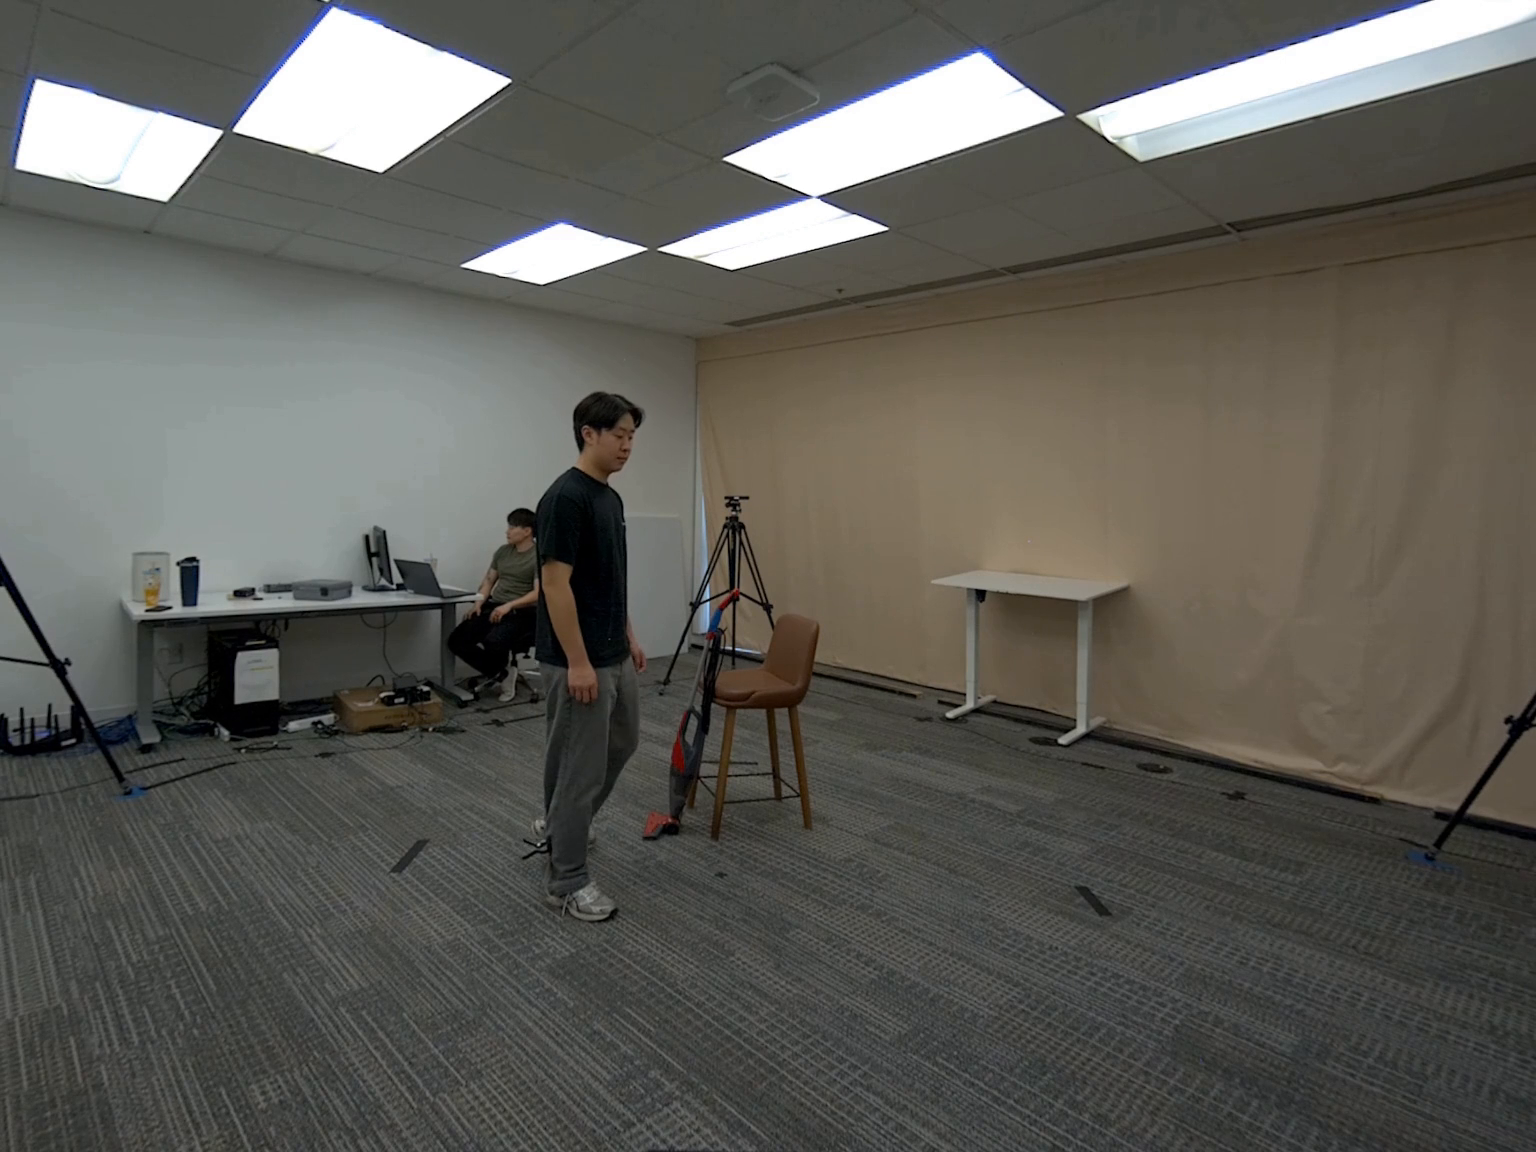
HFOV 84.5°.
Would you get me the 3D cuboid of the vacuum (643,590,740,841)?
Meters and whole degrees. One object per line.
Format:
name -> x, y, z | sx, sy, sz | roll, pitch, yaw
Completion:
vacuum -> -0.283, 0.556, 3.489 | 0.144, 1.047, 0.252 | 16, 3, 1
